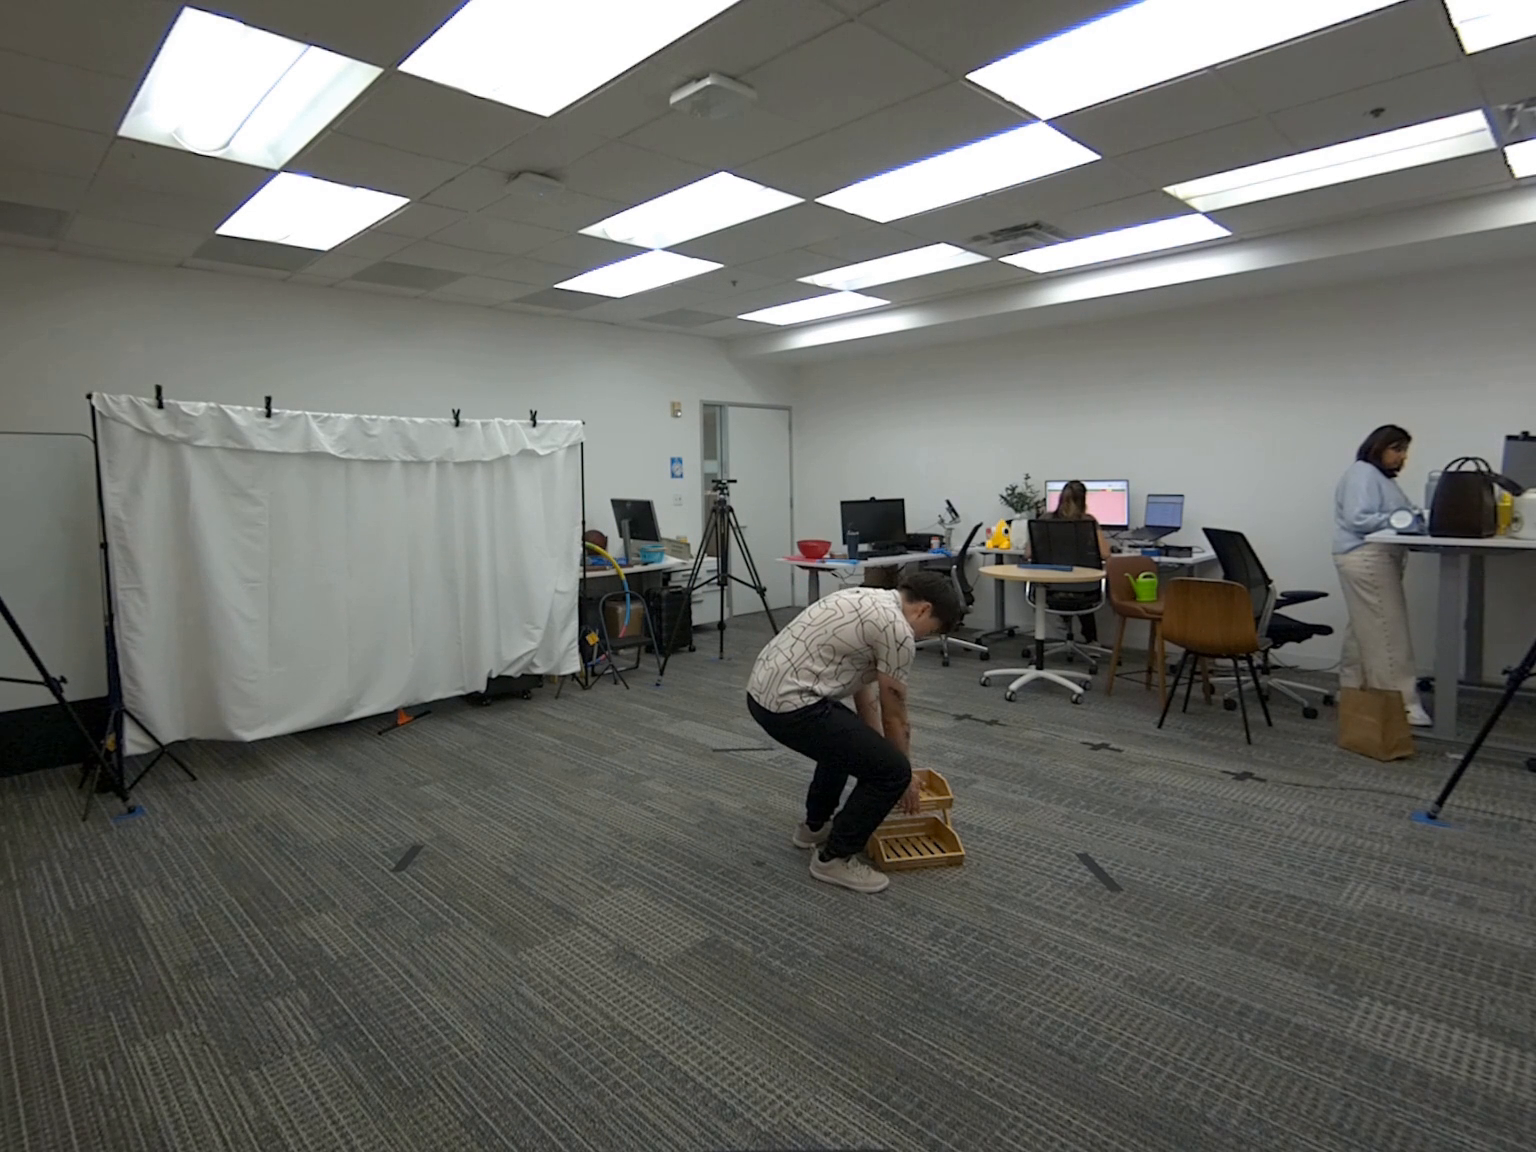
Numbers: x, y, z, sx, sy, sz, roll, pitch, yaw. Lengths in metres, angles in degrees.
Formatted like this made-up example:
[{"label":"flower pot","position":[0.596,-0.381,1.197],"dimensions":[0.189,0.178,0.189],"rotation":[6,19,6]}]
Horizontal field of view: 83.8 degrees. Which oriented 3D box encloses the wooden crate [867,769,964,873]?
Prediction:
[{"label":"wooden crate","position":[0.531,0.897,3.166],"dimensions":[0.321,0.272,0.306],"rotation":[-2,5,-12]}]
